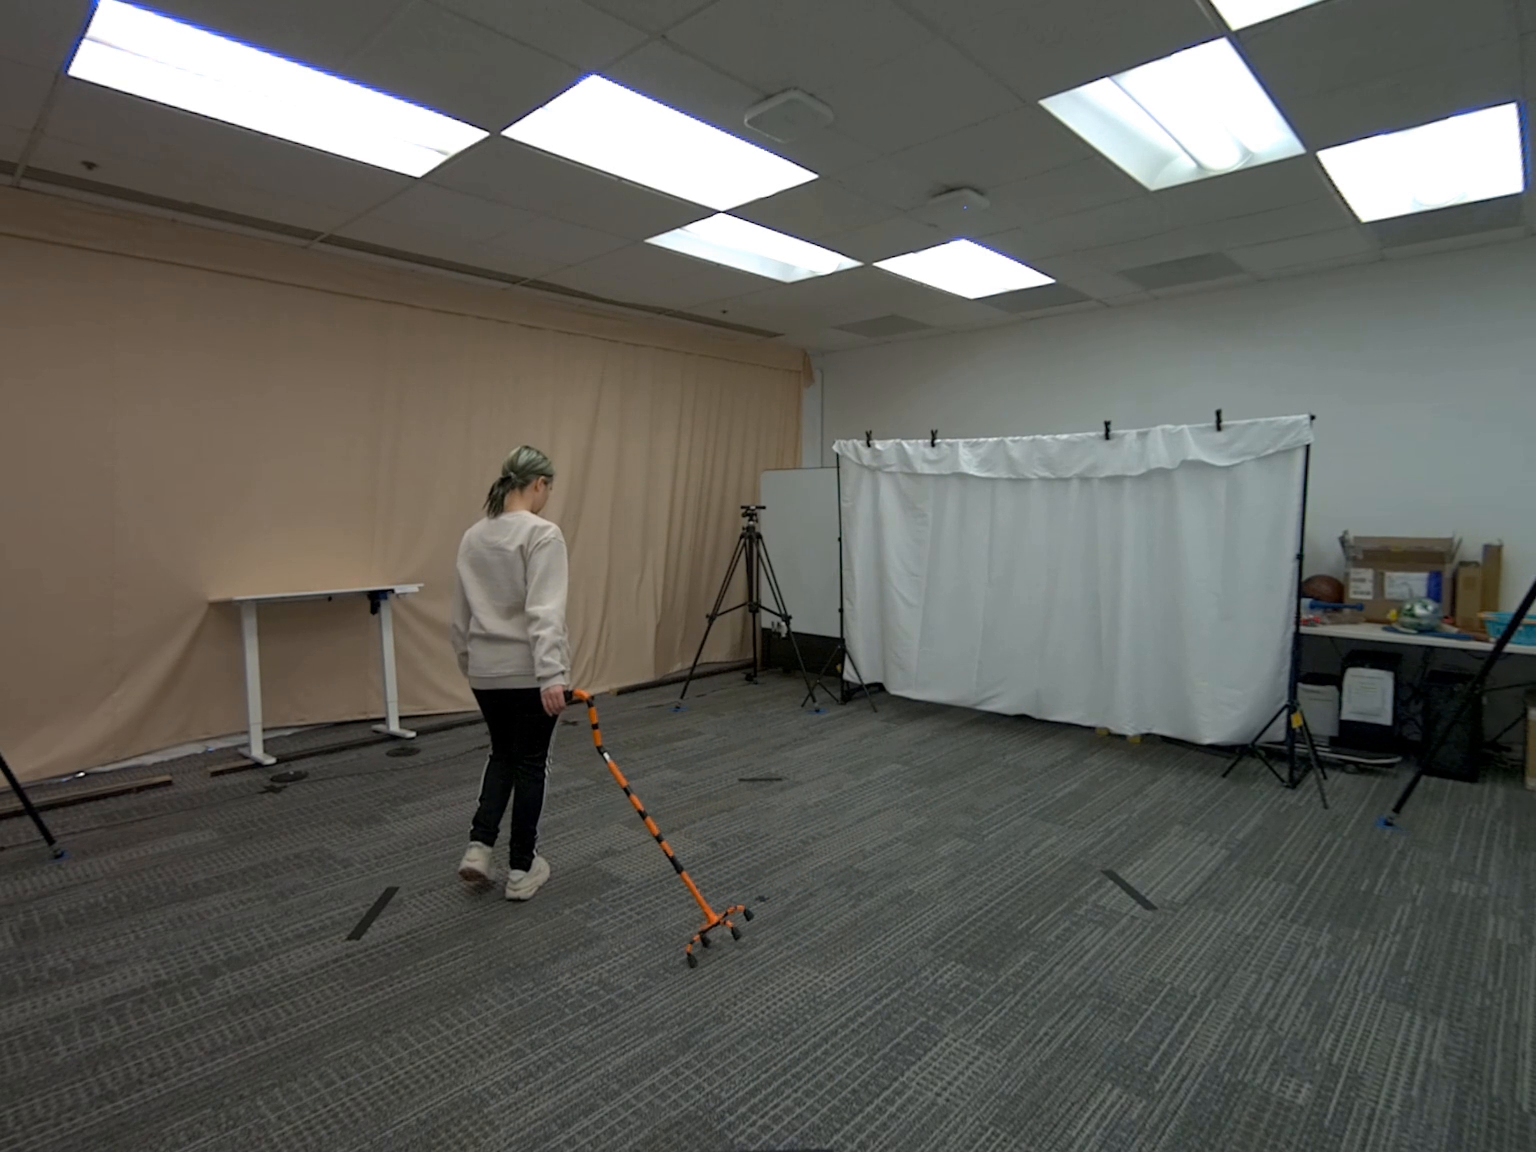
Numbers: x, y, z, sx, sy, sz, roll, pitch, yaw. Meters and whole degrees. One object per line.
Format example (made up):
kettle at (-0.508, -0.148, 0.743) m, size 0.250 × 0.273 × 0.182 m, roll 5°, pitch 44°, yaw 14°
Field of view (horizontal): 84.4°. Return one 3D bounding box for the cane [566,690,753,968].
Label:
cane at (-0.397, 0.754, 2.641) m, size 0.208 × 0.916 × 0.149 m, roll -37°, pitch -8°, yaw 17°
